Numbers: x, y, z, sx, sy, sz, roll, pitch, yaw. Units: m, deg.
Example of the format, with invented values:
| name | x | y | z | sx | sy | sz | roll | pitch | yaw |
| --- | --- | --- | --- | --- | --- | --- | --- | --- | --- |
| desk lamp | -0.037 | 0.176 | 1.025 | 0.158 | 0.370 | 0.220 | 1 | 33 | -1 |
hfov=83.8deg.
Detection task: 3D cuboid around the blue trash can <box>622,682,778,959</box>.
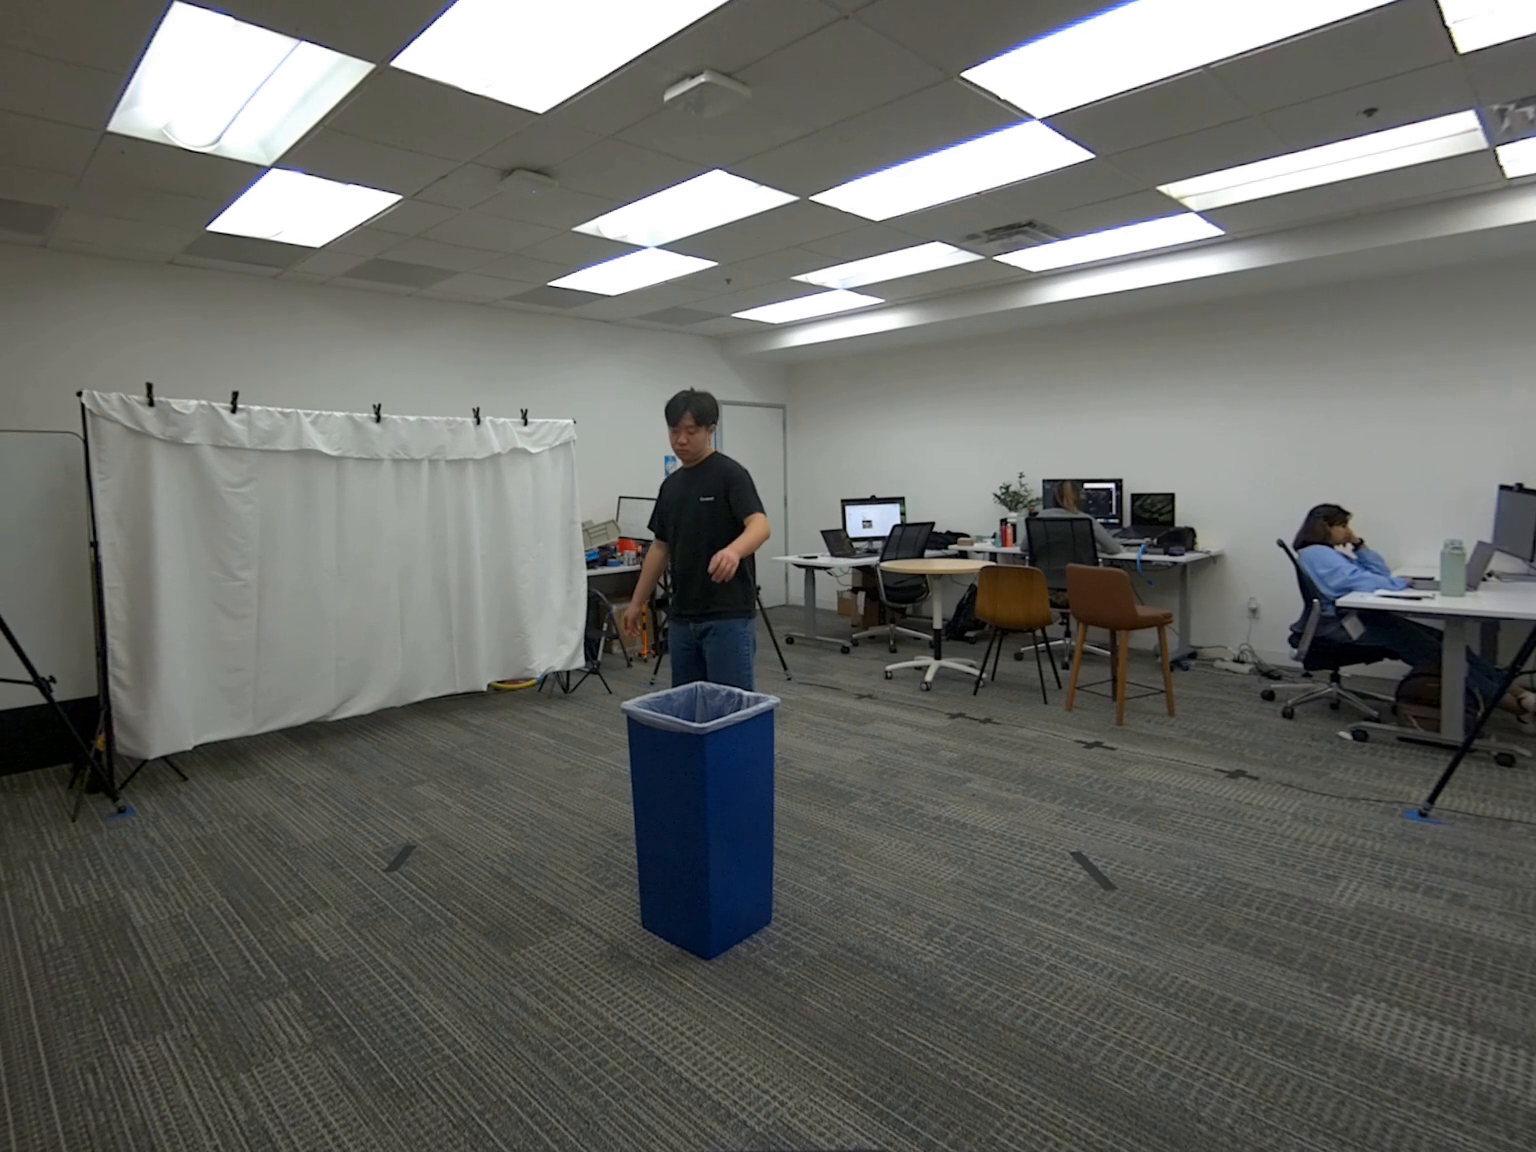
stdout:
| name | x | y | z | sx | sy | sz | roll | pitch | yaw |
| --- | --- | --- | --- | --- | --- | --- | --- | --- | --- |
| blue trash can | -0.201 | 0.744 | 2.655 | 0.389 | 0.711 | 0.364 | 2 | 5 | 41 |
